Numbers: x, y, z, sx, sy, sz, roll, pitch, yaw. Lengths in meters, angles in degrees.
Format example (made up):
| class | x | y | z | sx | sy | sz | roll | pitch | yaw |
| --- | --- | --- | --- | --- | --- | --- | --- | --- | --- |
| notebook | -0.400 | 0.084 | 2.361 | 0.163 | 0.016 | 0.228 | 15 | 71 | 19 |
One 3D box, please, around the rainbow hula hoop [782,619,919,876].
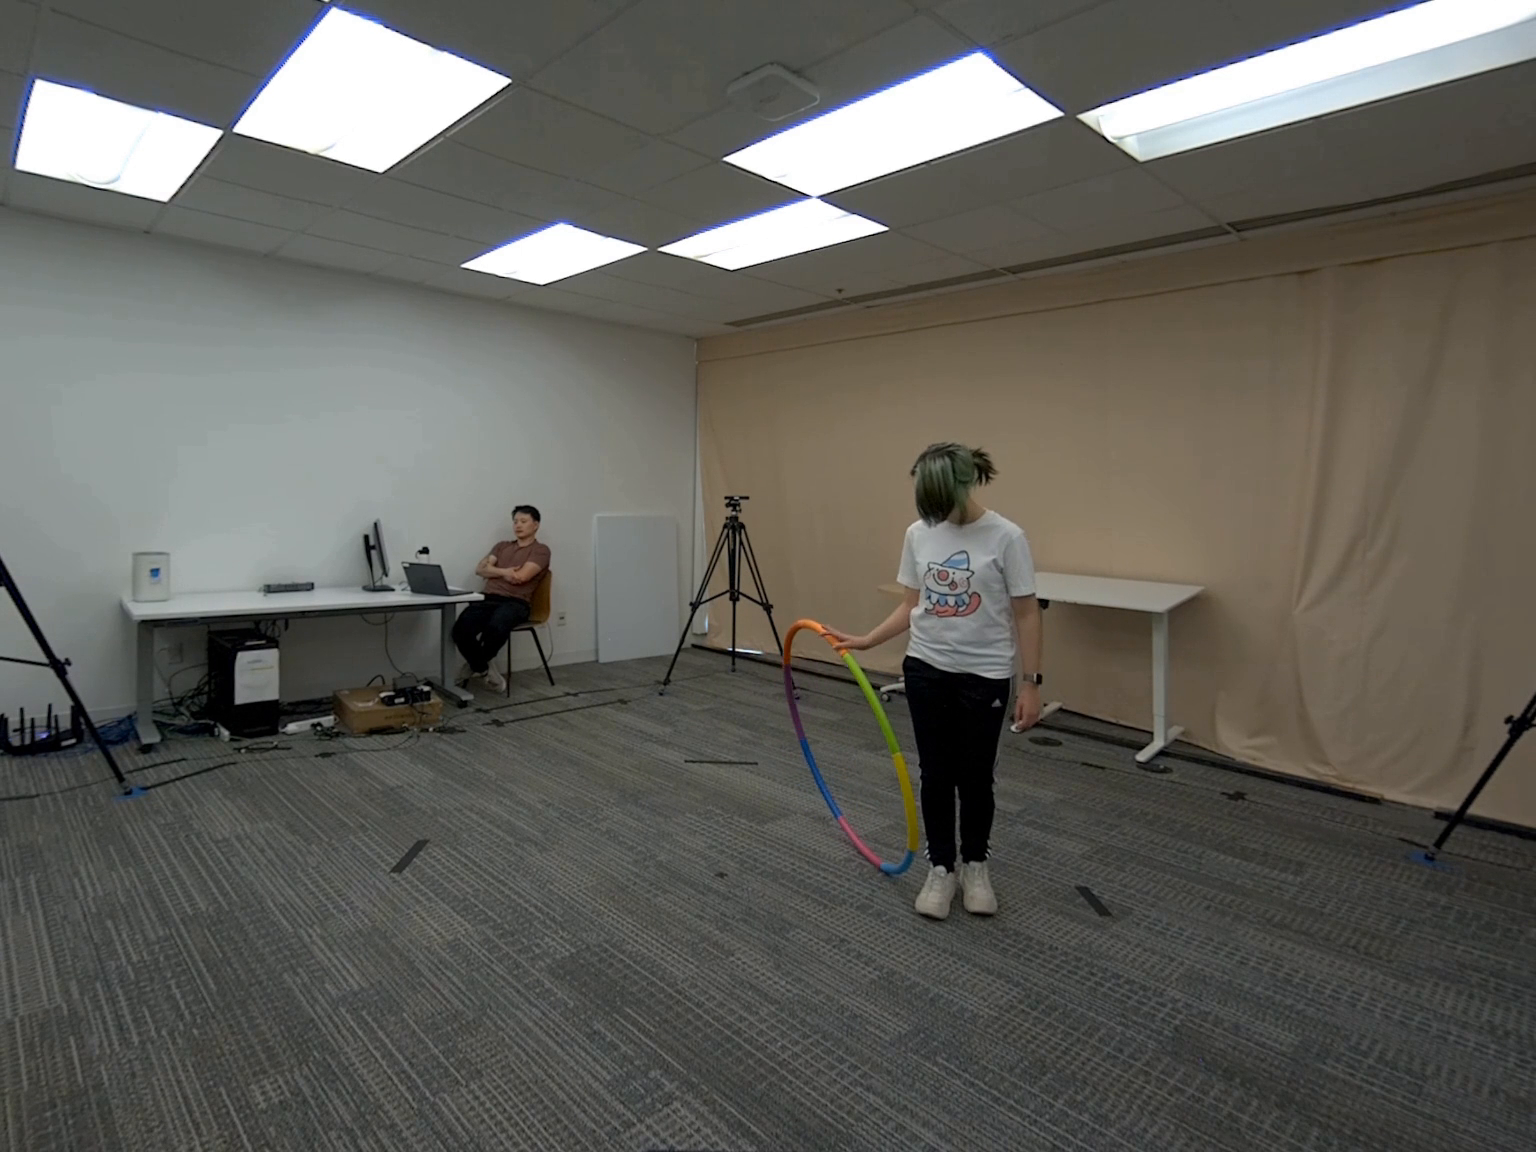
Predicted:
| class | x | y | z | sx | sy | sz | roll | pitch | yaw |
| --- | --- | --- | --- | --- | --- | --- | --- | --- | --- |
| rainbow hula hoop | 0.279 | 0.637 | 3.200 | 0.035 | 0.971 | 0.996 | -17 | 10 | -18 |
